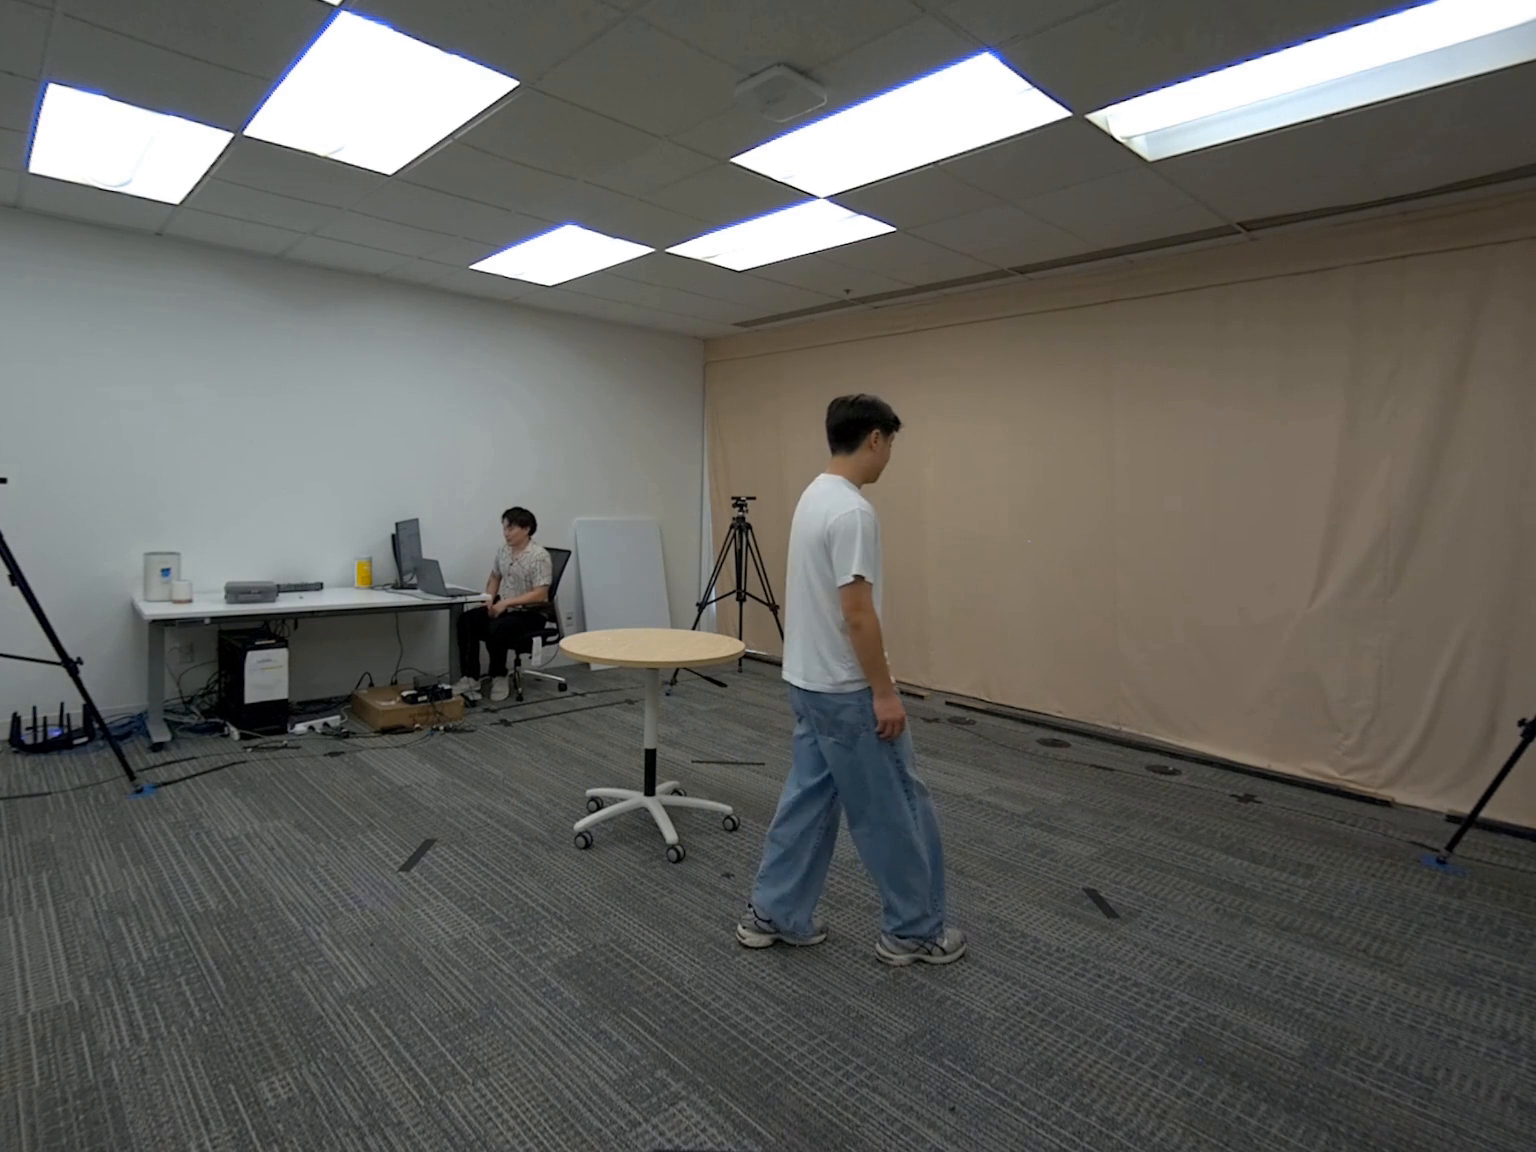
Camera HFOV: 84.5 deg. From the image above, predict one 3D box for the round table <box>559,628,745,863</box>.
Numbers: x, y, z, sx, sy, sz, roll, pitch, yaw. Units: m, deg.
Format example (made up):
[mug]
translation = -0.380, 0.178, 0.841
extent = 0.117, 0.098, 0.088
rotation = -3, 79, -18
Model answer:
[round table]
translation = -0.496, 0.673, 3.511
extent = 0.763, 0.792, 0.766
rotation = 1, 4, -1
